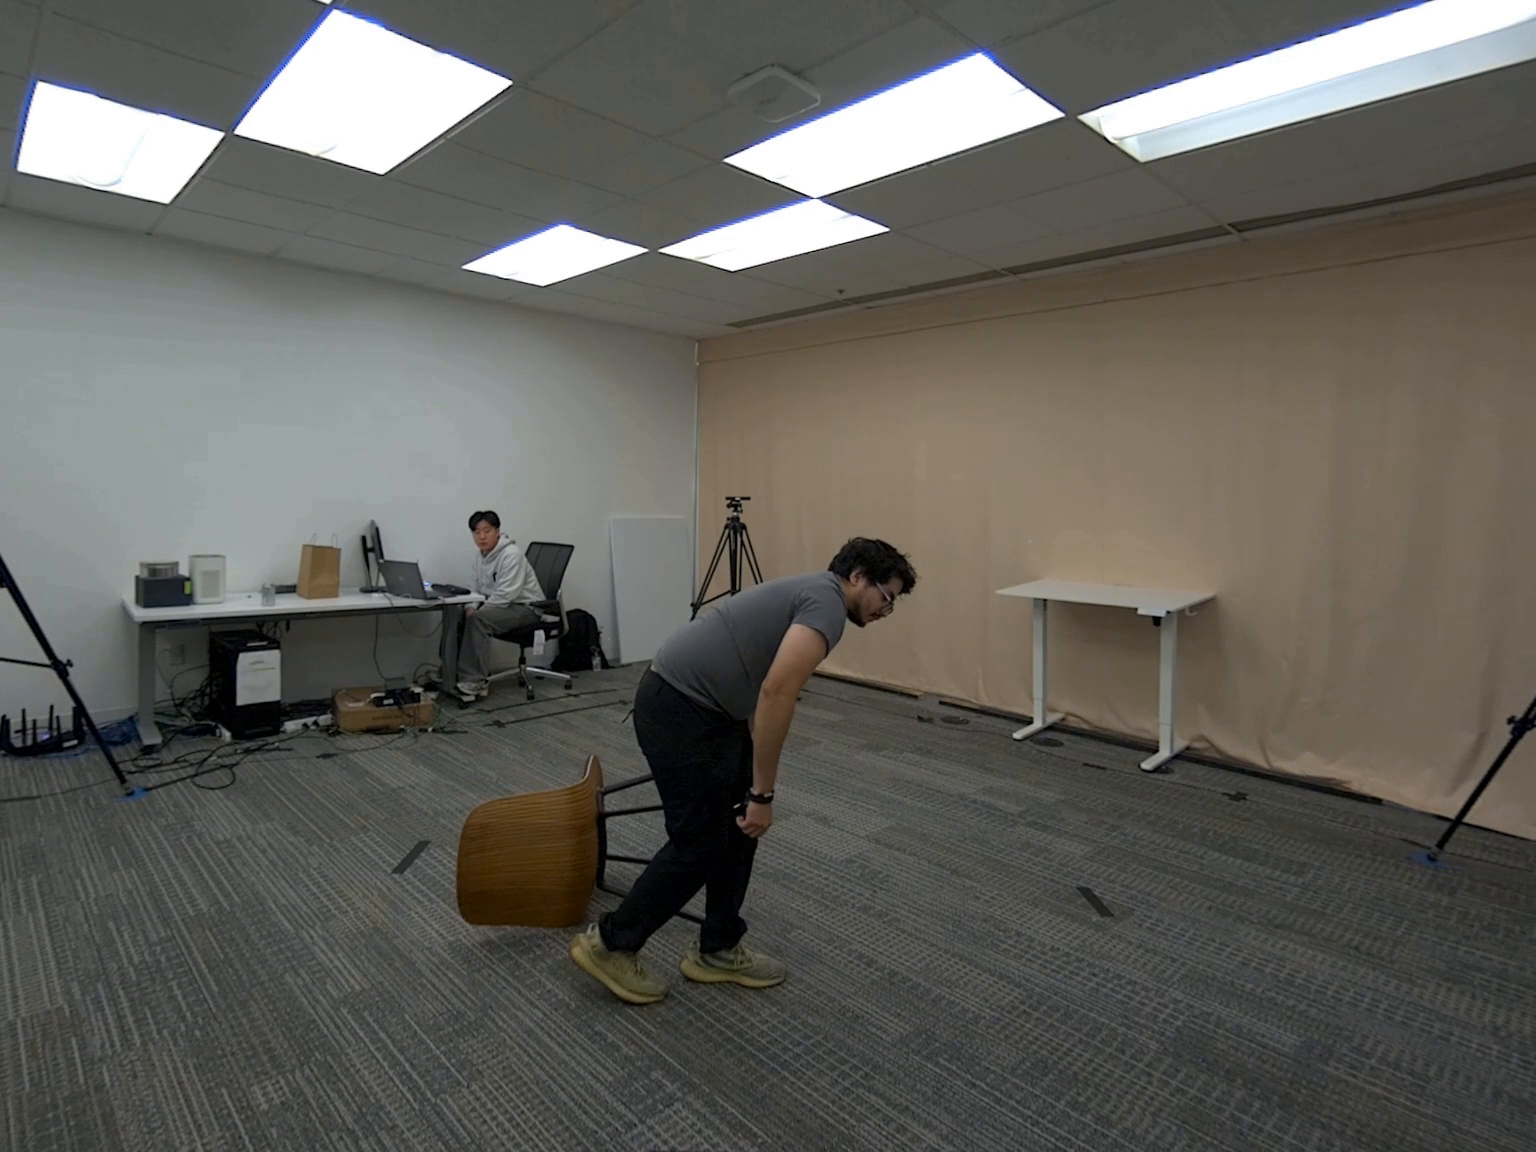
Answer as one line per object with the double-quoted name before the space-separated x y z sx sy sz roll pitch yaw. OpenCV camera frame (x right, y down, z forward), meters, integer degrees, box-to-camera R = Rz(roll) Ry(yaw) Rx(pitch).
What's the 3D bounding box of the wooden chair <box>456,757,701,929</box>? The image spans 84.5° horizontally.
"wooden chair" -0.575 0.889 2.858 0.870 0.477 0.529 1 4 -11
